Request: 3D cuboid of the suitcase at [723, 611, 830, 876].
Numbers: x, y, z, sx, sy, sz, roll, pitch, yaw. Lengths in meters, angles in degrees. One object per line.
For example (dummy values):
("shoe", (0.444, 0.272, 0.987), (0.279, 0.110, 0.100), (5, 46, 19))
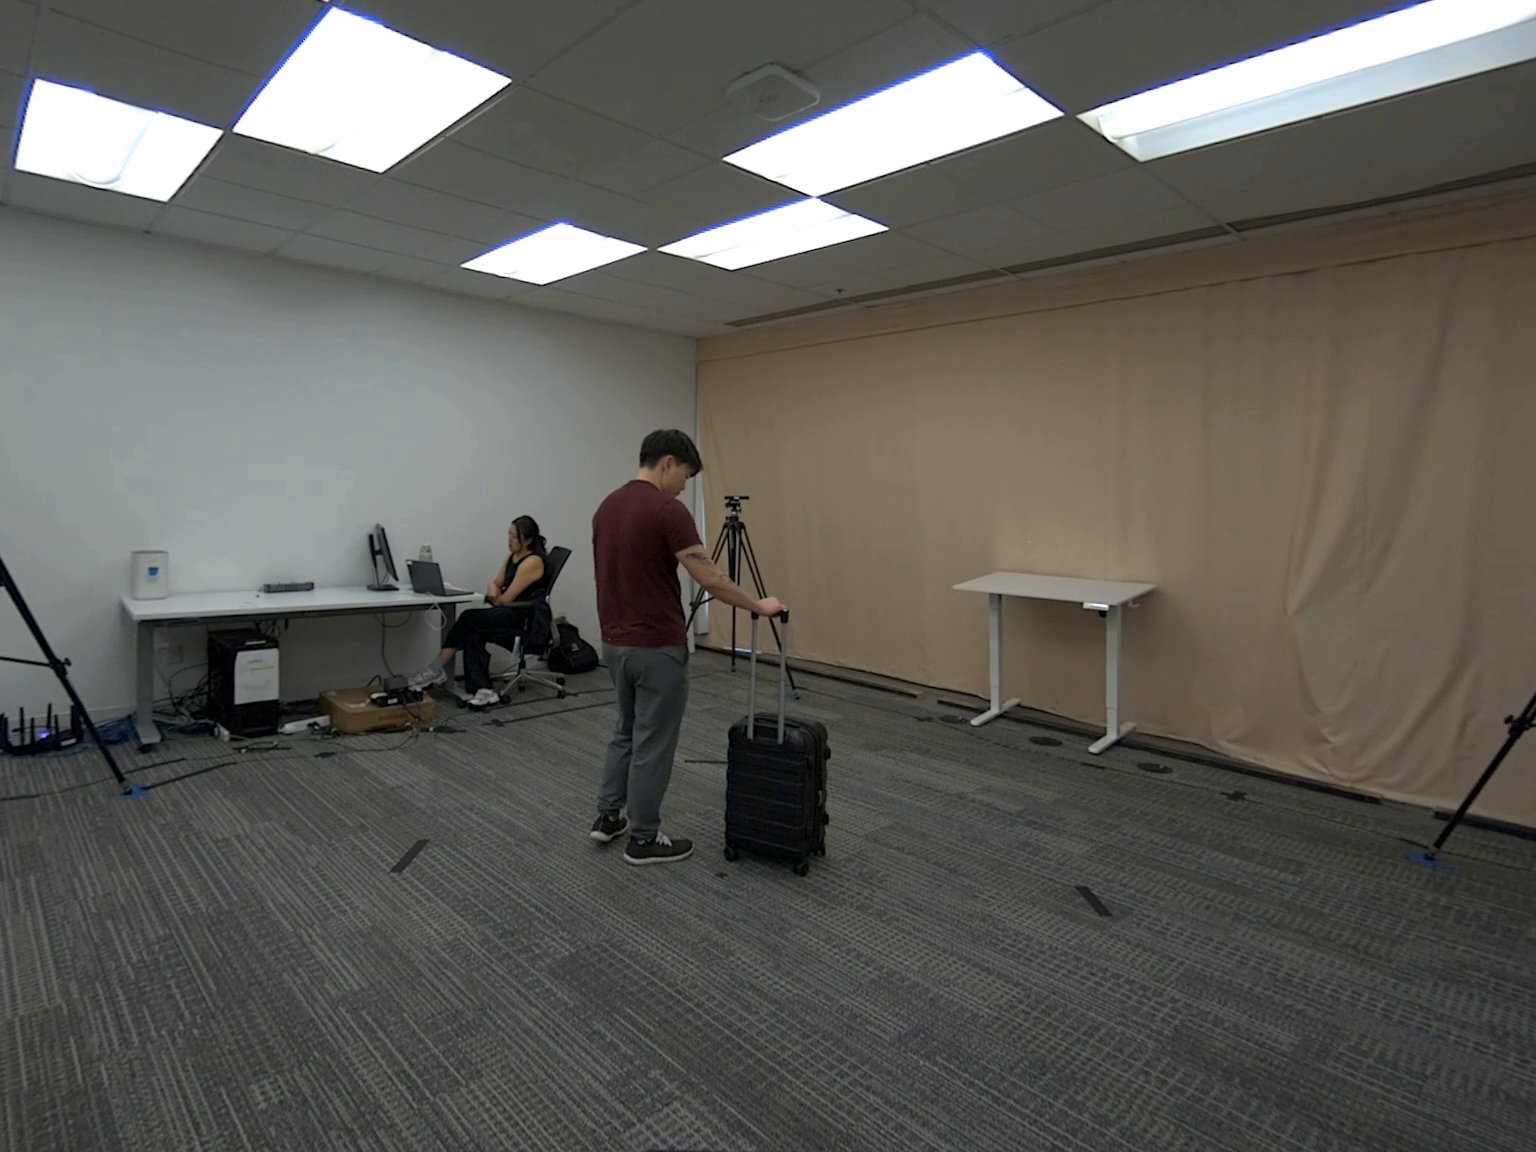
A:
("suitcase", (0.031, 0.617, 3.263), (0.392, 0.978, 0.252), (2, 0, 27))
